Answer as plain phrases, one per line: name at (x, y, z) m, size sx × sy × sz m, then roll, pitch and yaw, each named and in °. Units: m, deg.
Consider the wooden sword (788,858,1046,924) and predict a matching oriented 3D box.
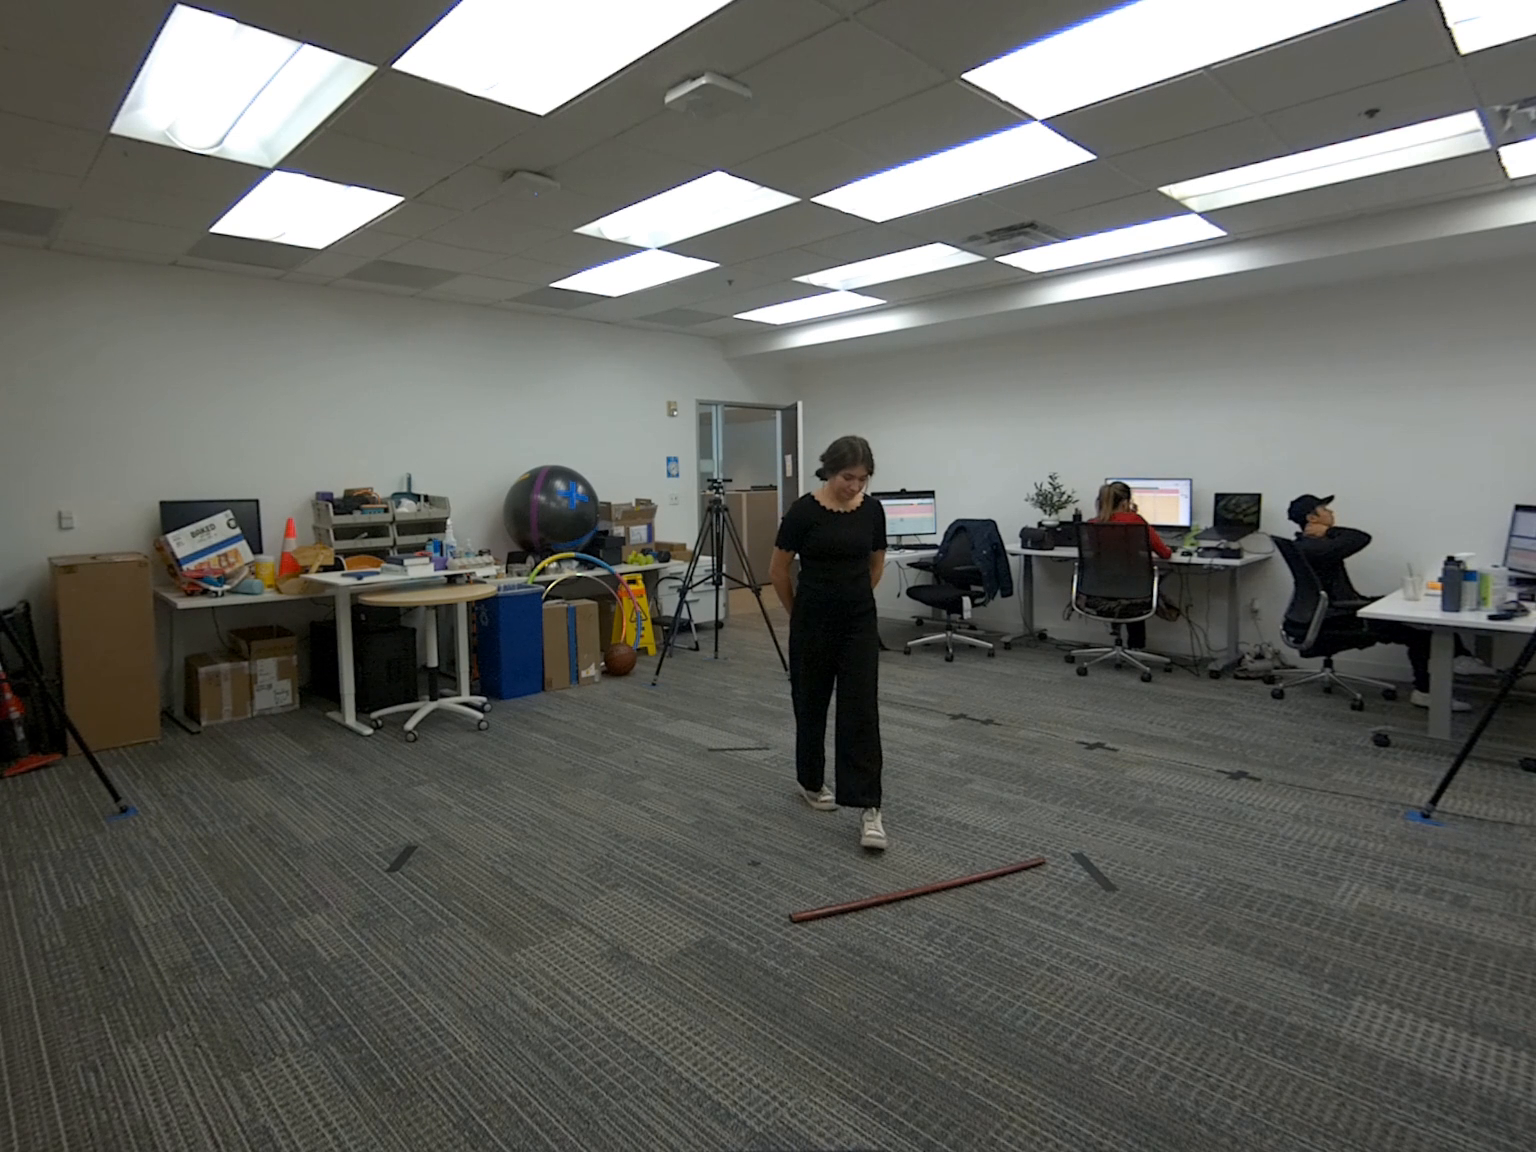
wooden sword at (0.529, 1.041, 2.877) m, size 1.005 × 0.024 × 0.052 m, roll -4°, pitch 4°, yaw -22°
